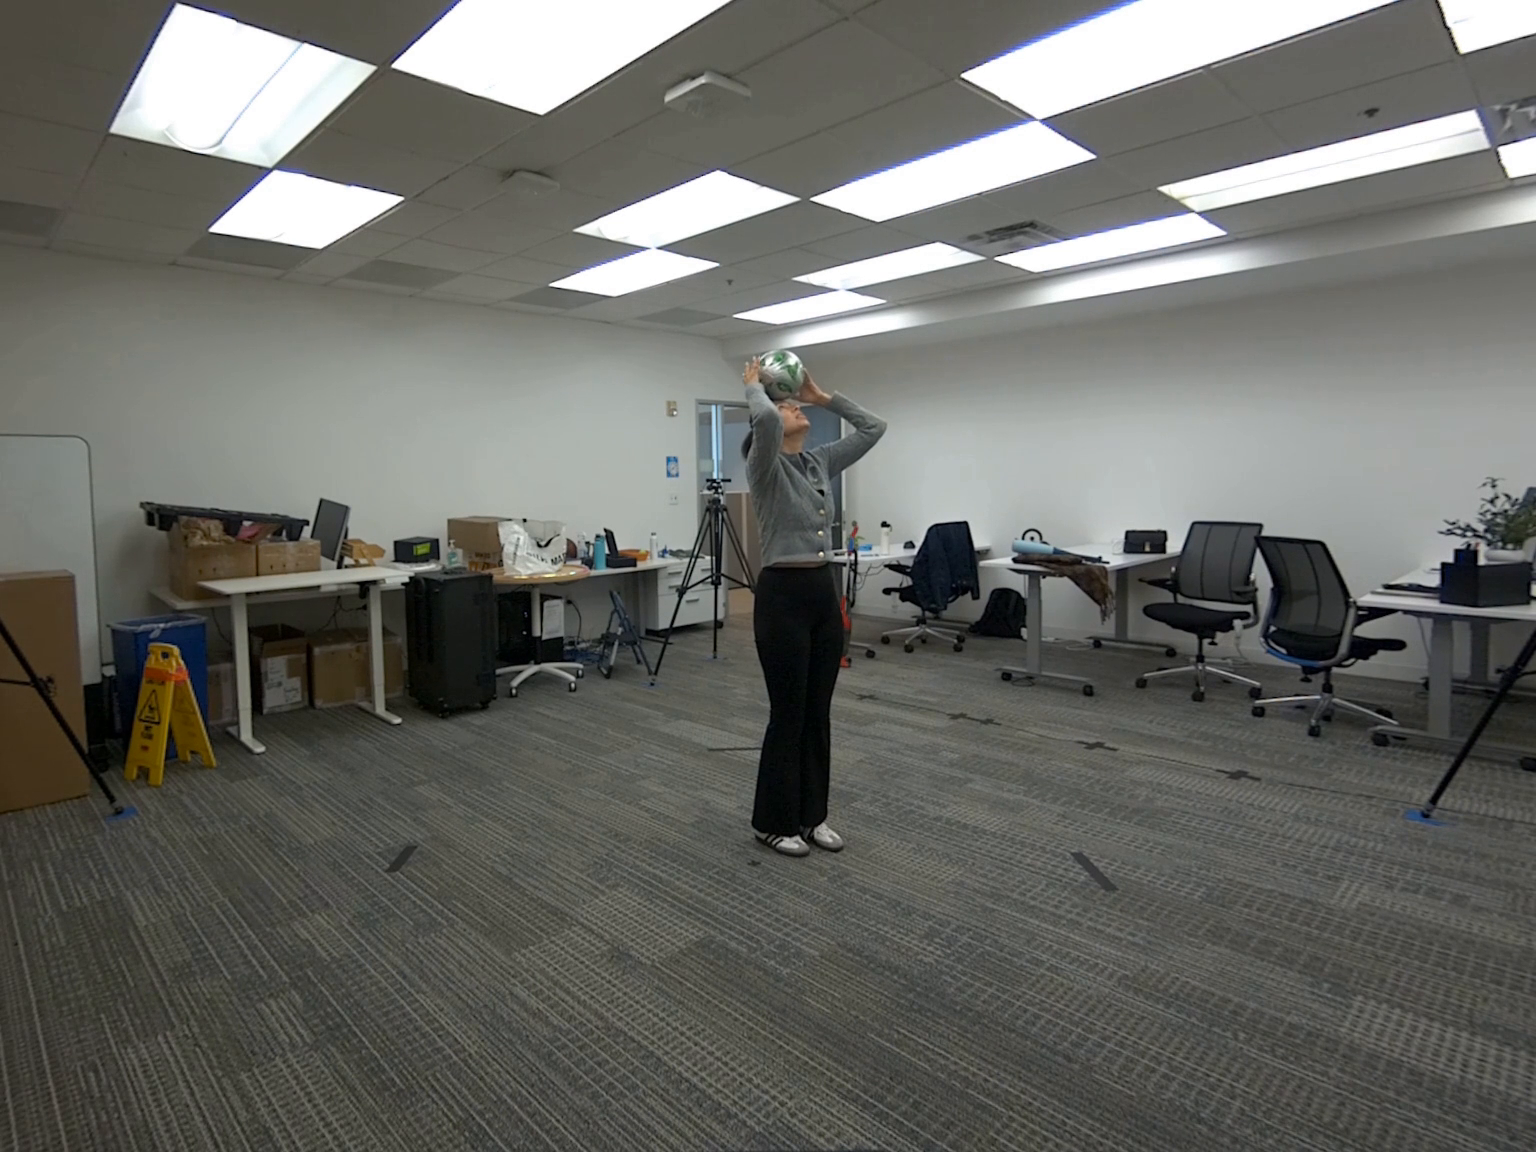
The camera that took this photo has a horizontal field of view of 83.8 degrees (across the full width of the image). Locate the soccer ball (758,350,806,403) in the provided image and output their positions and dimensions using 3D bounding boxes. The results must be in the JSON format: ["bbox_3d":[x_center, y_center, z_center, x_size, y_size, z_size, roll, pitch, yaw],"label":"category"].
[{"bbox_3d":[0.042,-0.752,3.198,0.187,0.187,0.188,-1,5,-2],"label":"soccer ball"}]
